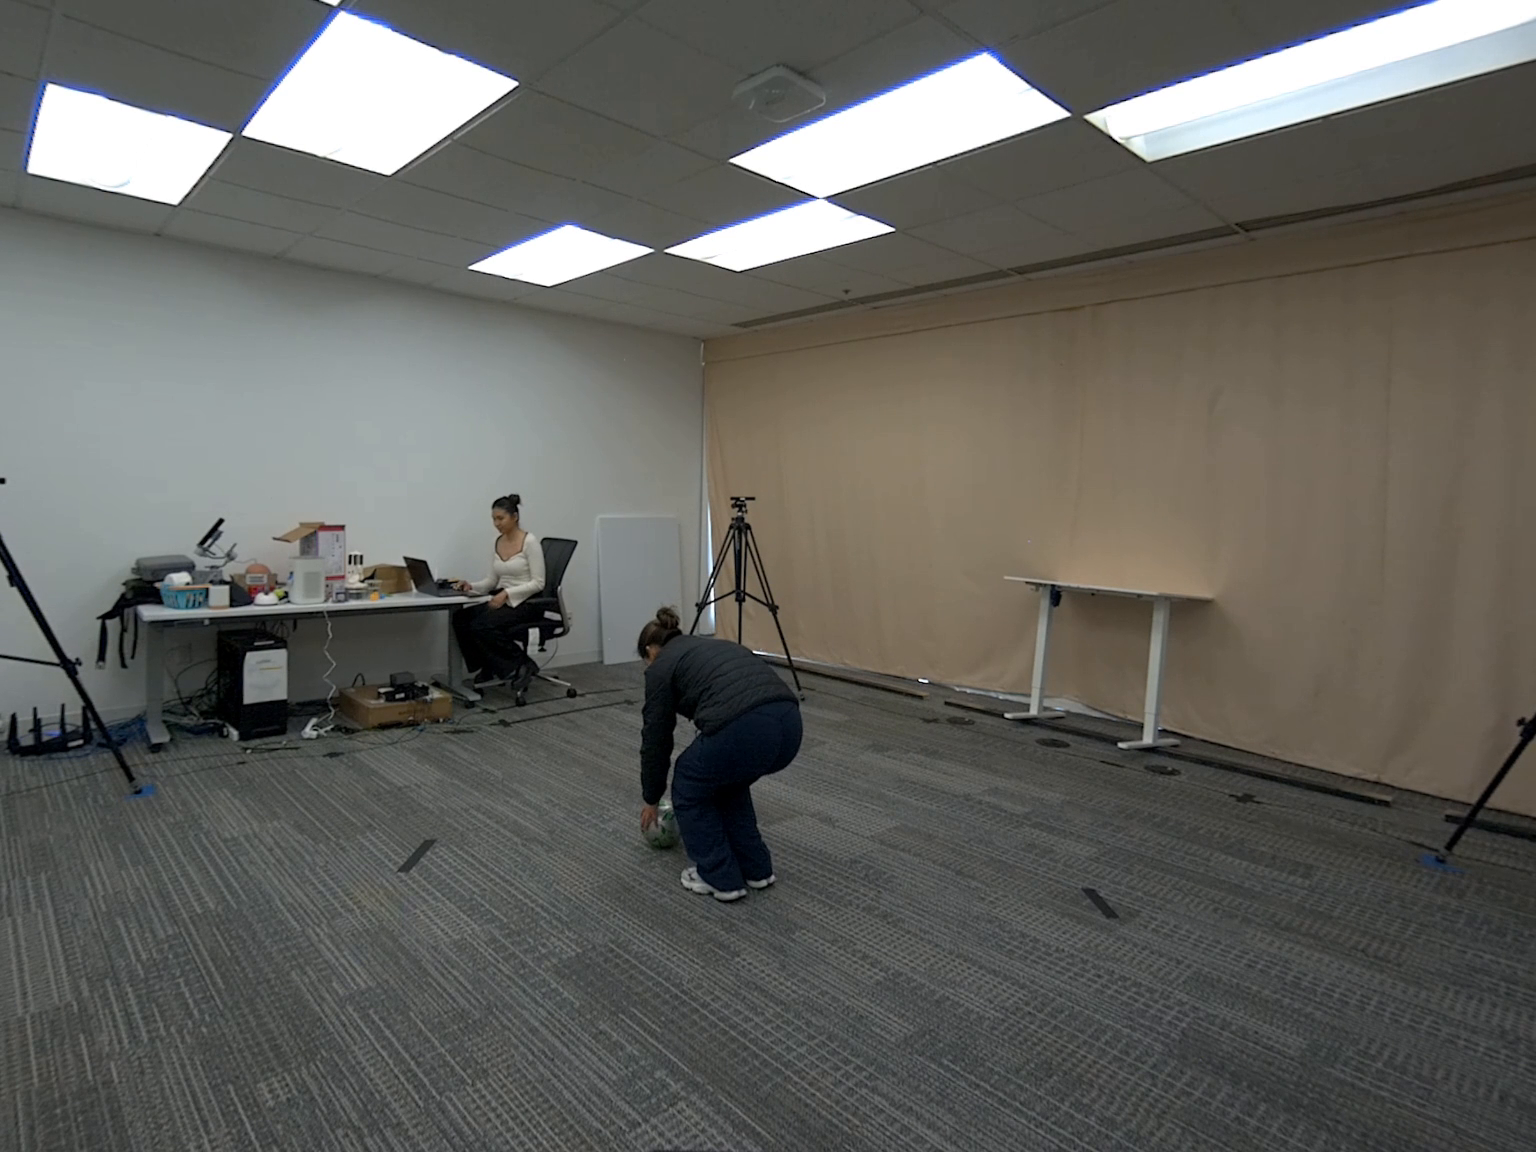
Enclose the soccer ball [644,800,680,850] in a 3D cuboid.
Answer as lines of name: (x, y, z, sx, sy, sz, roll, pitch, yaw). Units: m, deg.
soccer ball: (-0.426, 0.976, 3.356, 0.187, 0.187, 0.188, 1, 4, -1)
